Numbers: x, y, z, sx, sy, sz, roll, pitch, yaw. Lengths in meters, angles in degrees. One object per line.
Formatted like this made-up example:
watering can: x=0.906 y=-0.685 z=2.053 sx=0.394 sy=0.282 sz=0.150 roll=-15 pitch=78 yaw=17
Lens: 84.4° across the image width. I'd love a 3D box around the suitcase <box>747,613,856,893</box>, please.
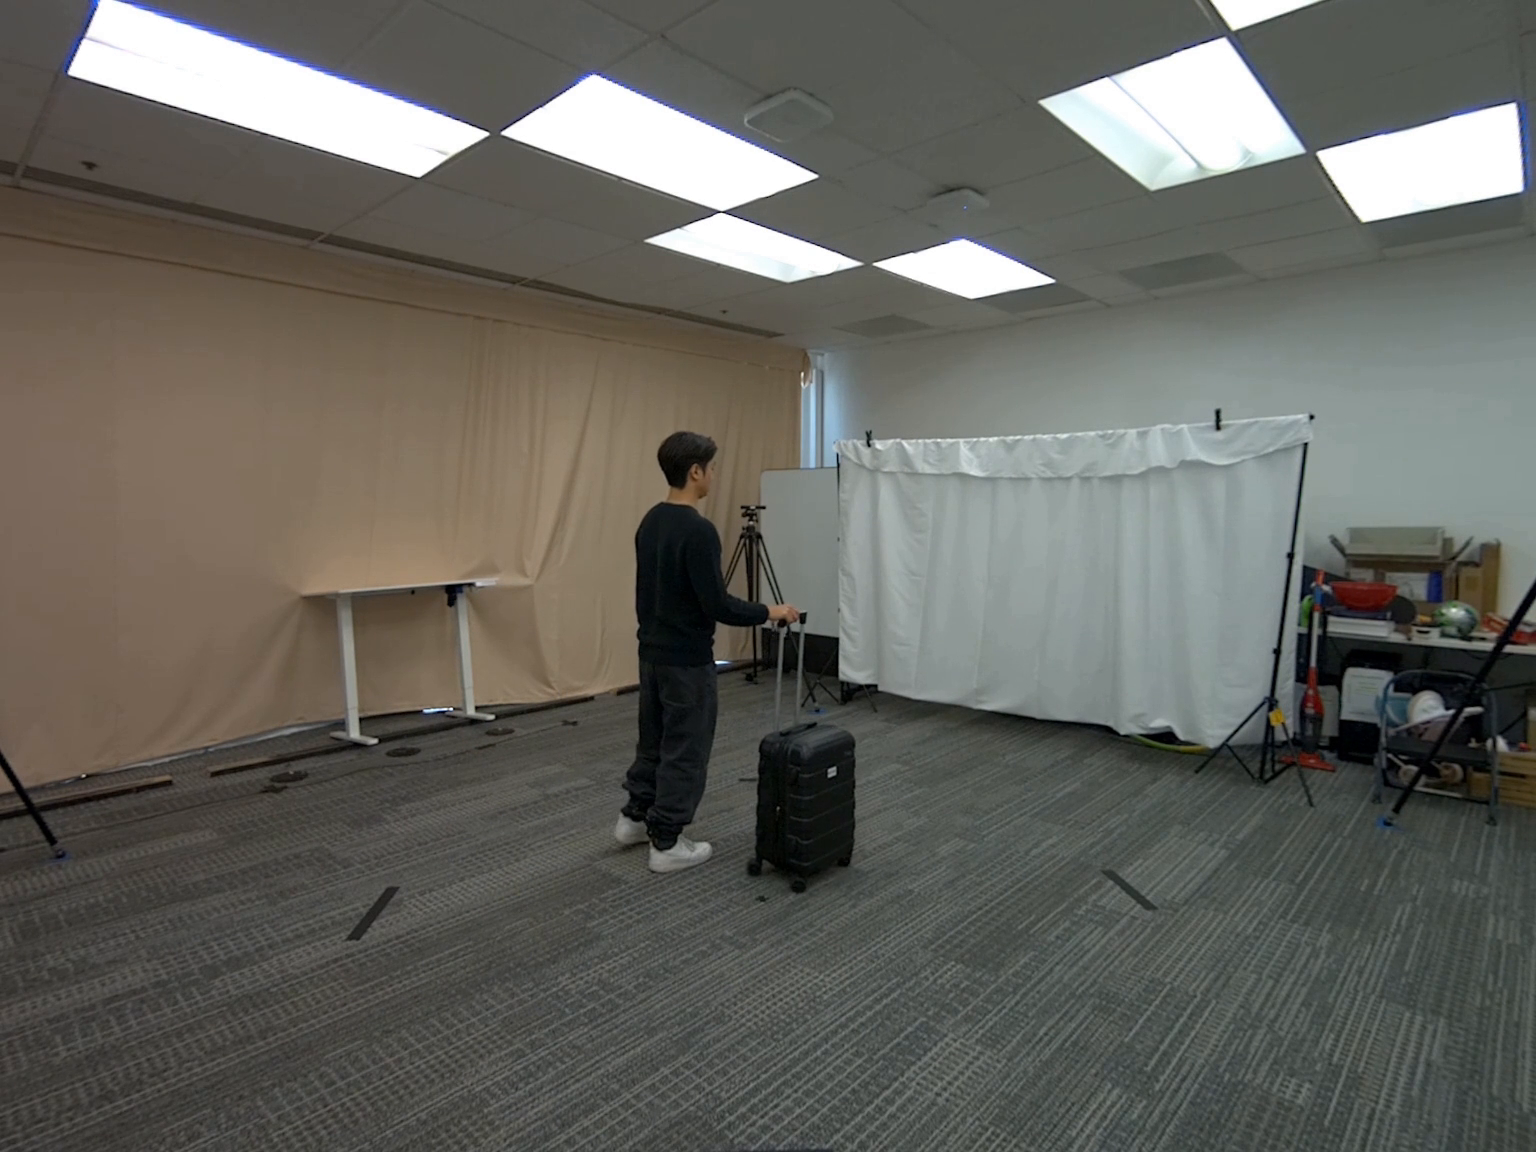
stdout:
suitcase: x=0.165 y=0.652 z=3.185 sx=0.266 sy=0.976 sz=0.372 roll=8 pitch=6 yaw=42
